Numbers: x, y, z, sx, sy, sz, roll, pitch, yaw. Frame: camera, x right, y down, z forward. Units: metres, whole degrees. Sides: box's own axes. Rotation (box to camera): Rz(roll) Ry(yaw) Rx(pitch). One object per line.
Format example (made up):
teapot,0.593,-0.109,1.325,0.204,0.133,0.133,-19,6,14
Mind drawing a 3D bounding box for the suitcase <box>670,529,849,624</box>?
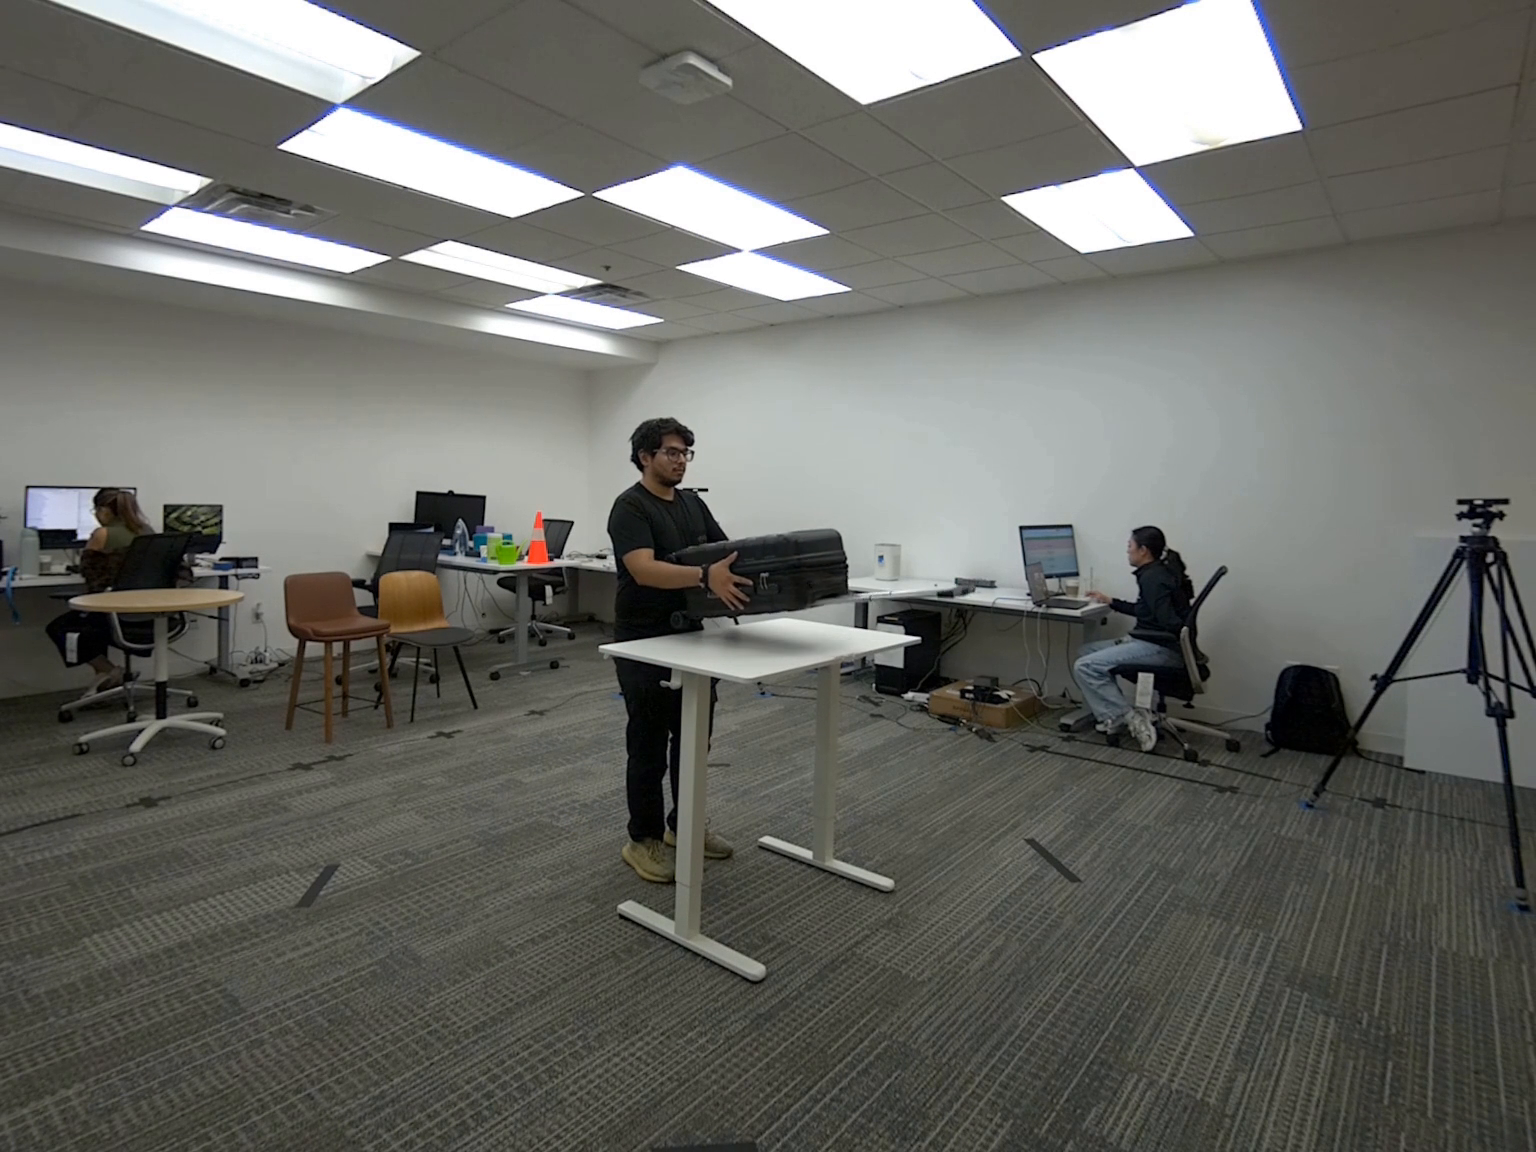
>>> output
suitcase,0.137,-0.021,2.719,1.004,0.258,0.373,-9,-2,37
